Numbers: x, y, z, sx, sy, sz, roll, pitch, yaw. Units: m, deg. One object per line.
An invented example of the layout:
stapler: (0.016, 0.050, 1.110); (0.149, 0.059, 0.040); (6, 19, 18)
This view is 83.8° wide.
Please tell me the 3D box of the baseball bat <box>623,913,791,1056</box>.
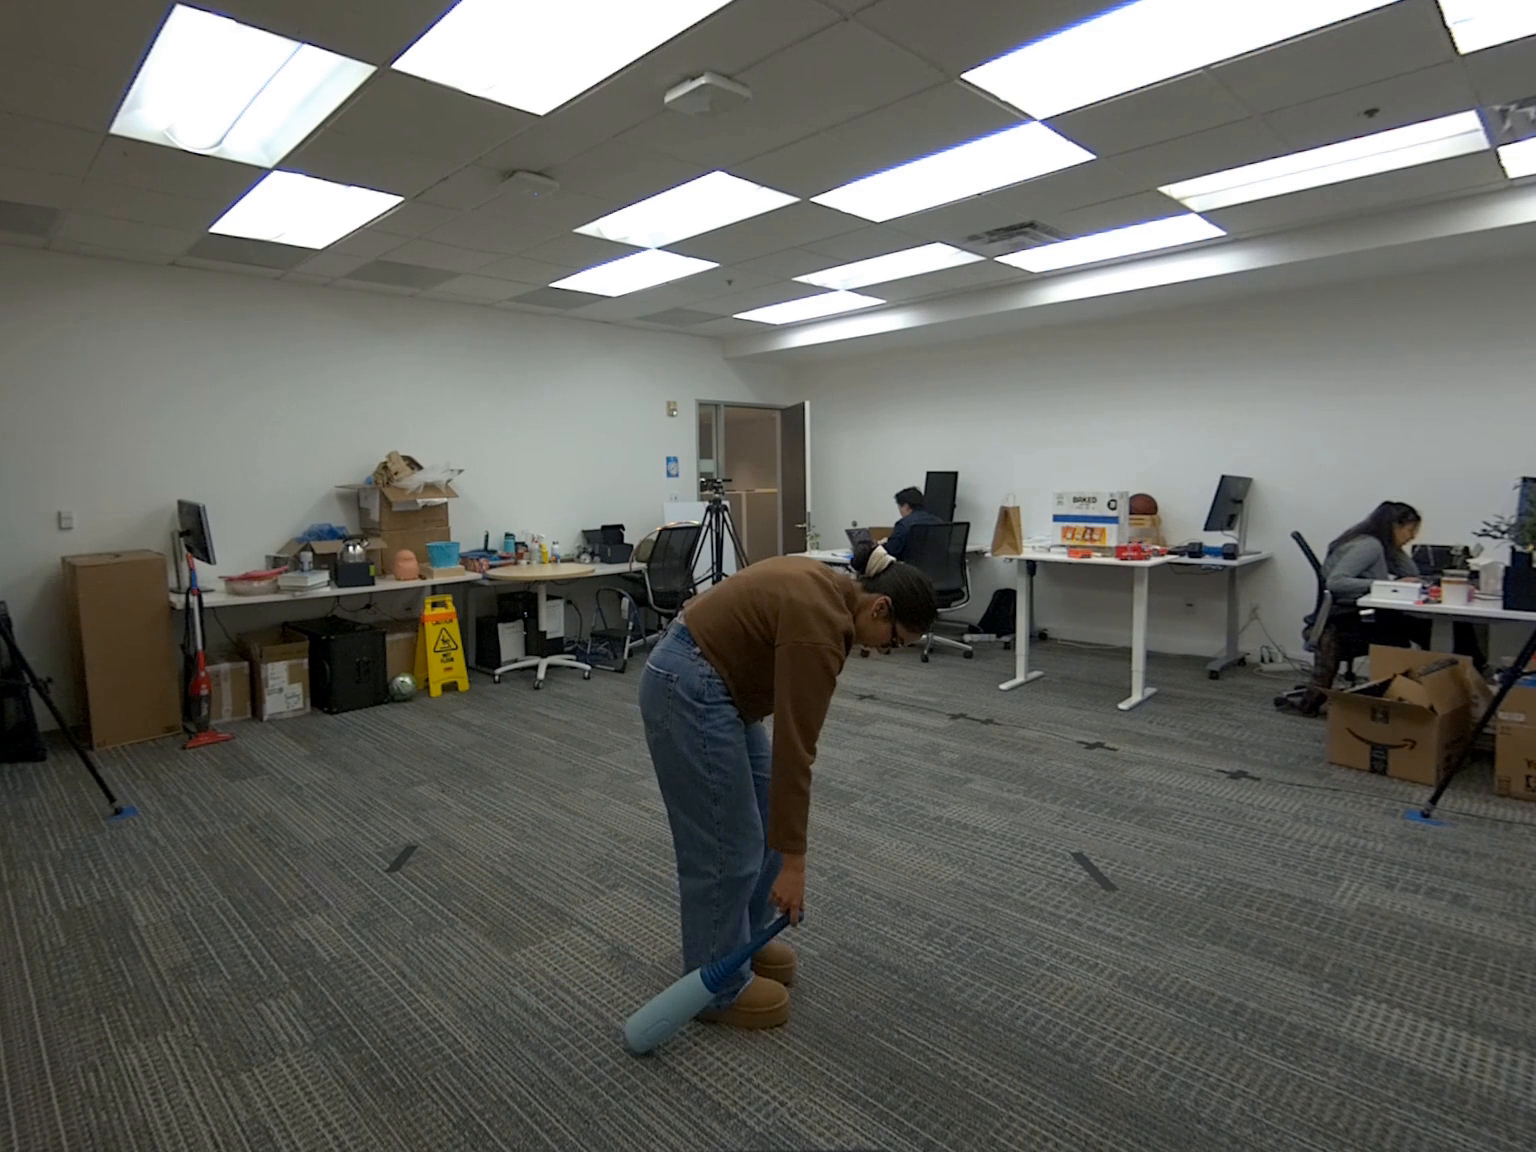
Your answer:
baseball bat: (-0.126, 0.980, 2.065); (0.544, 0.089, 0.089); (-40, -1, 9)
